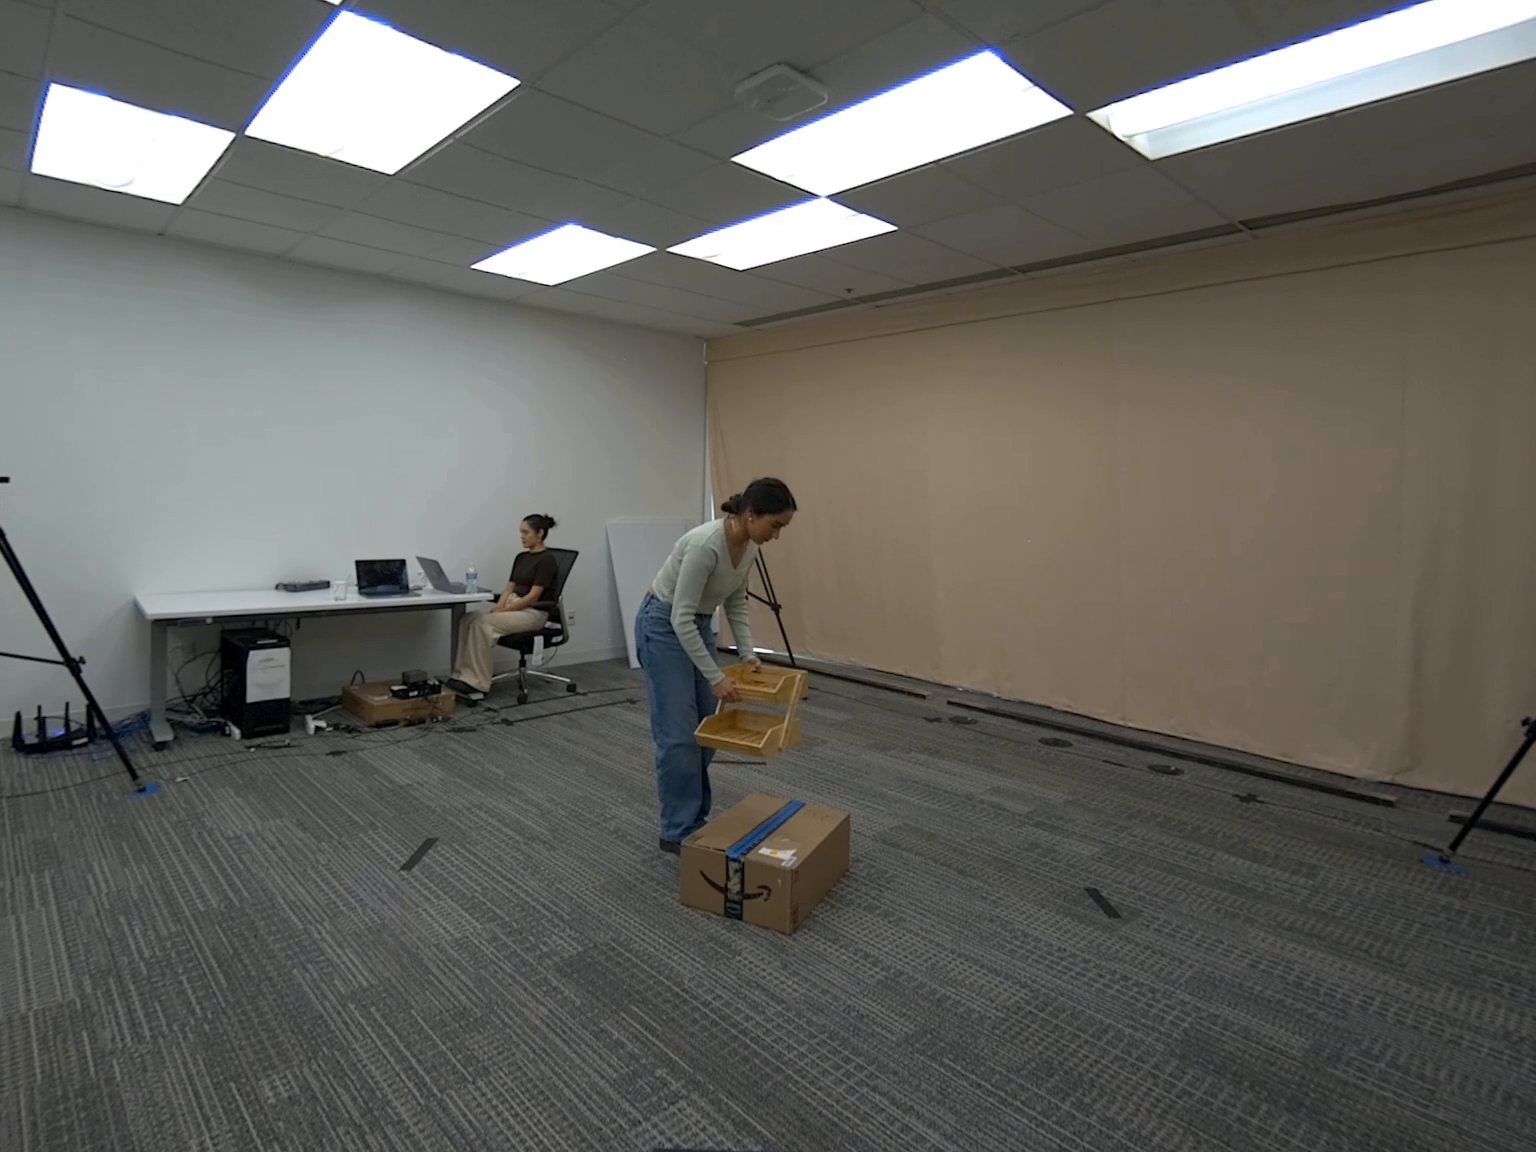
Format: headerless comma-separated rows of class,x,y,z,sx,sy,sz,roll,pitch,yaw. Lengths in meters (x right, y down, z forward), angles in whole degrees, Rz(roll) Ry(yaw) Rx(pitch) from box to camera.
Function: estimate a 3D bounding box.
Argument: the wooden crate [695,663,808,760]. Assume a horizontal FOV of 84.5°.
wooden crate,-0.066,0.482,3.077,0.332,0.273,0.295,1,3,36
